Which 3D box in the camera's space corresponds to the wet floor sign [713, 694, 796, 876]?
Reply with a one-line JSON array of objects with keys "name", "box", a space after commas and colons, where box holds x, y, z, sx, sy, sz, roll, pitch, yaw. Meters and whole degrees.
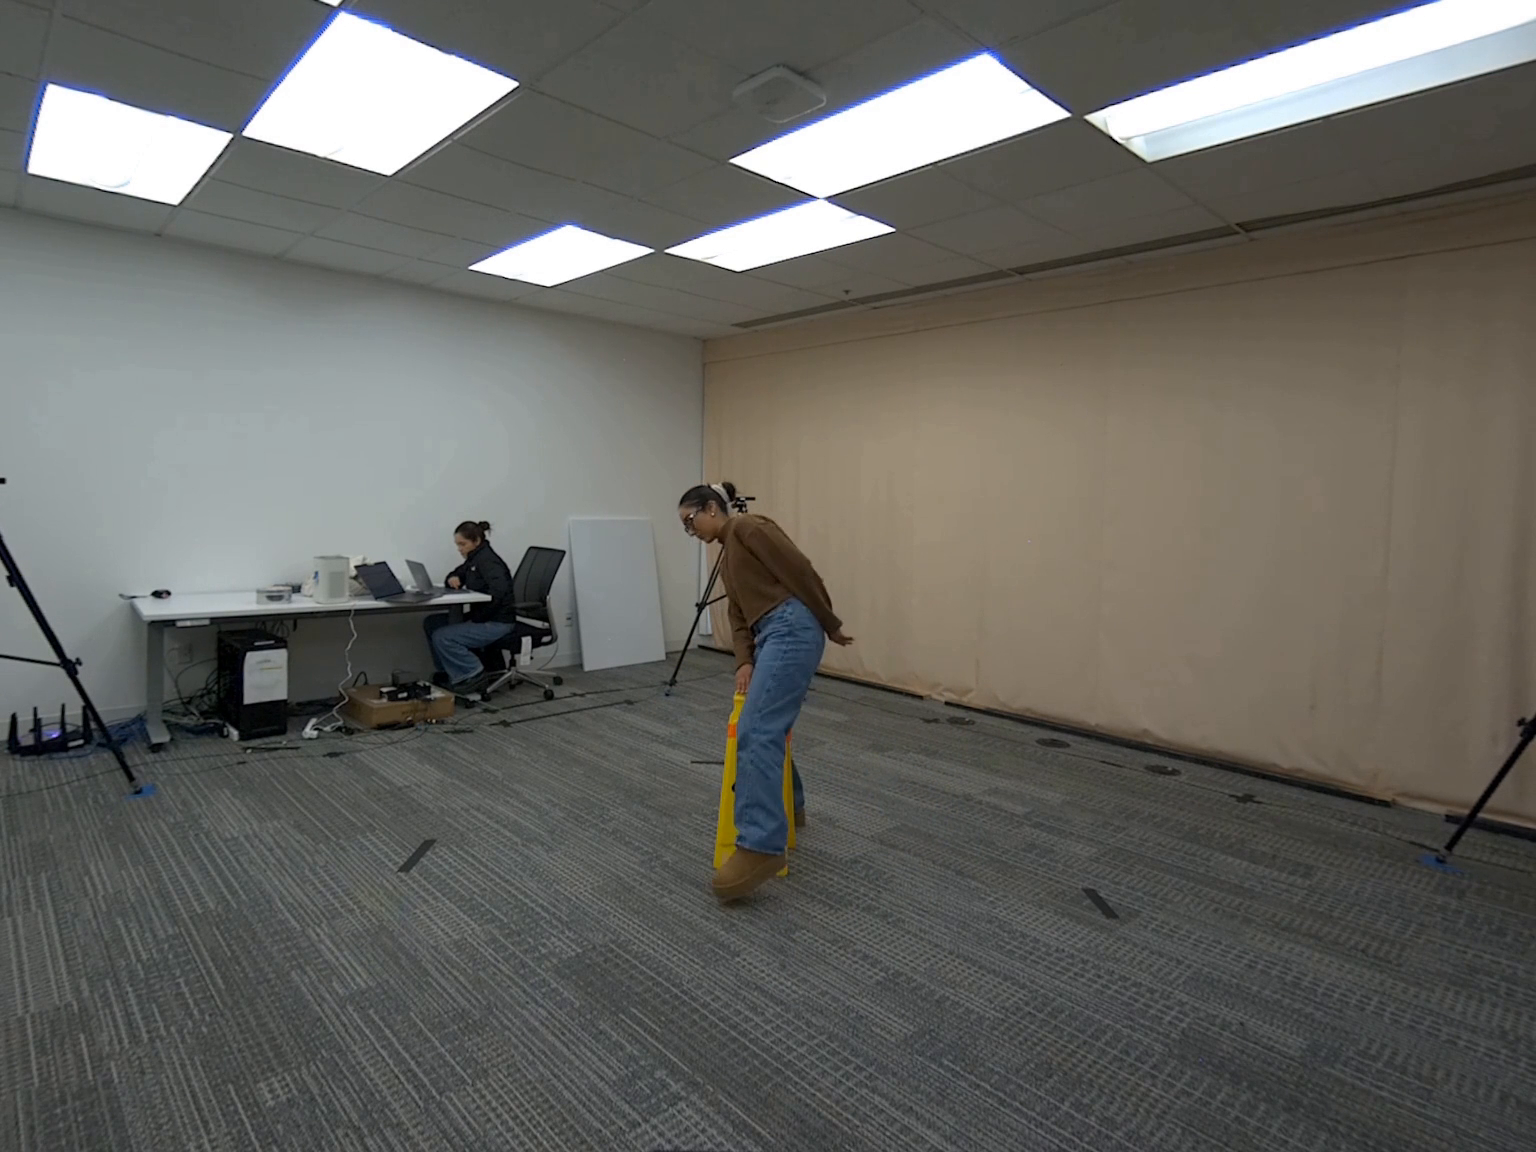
[{"name": "wet floor sign", "box": [-0.058, 0.787, 3.259, 0.284, 0.645, 0.288, 2, 3, 9]}]
